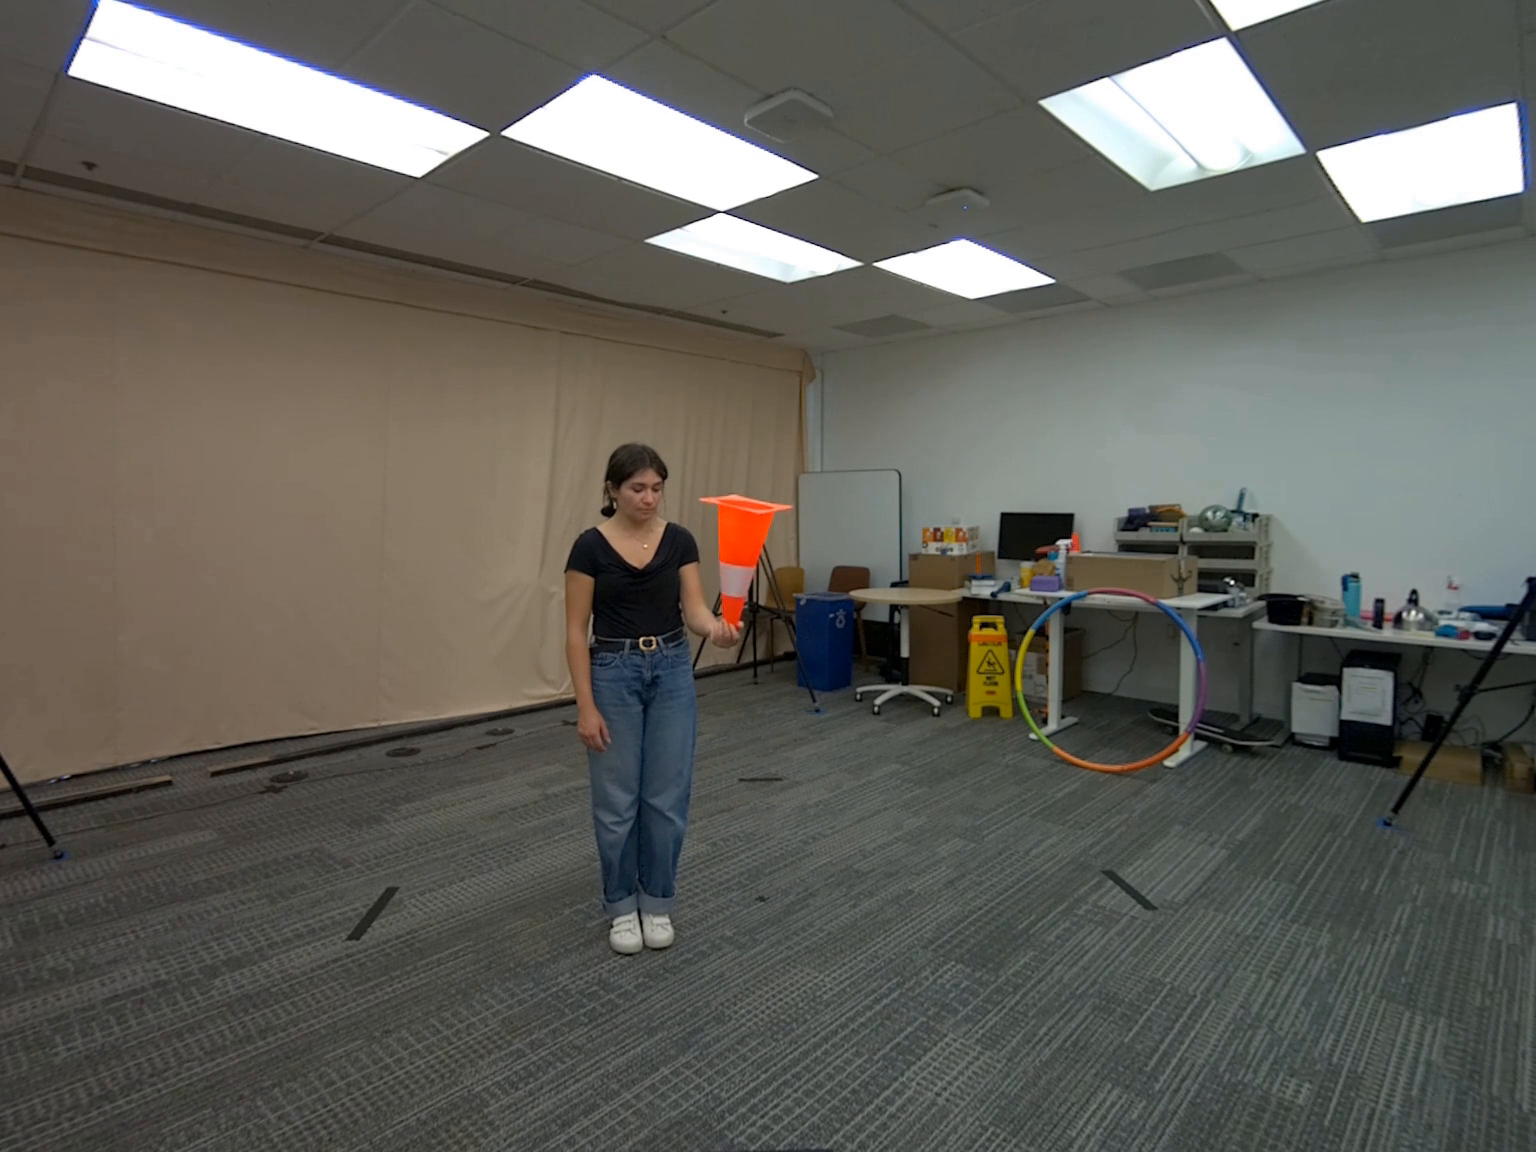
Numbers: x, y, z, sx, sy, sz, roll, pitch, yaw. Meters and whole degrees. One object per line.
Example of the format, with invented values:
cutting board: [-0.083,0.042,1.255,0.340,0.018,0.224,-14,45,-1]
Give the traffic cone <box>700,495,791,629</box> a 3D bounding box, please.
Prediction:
traffic cone: [-0.078,-0.007,2.326,0.212,0.381,0.198,17,15,30]
